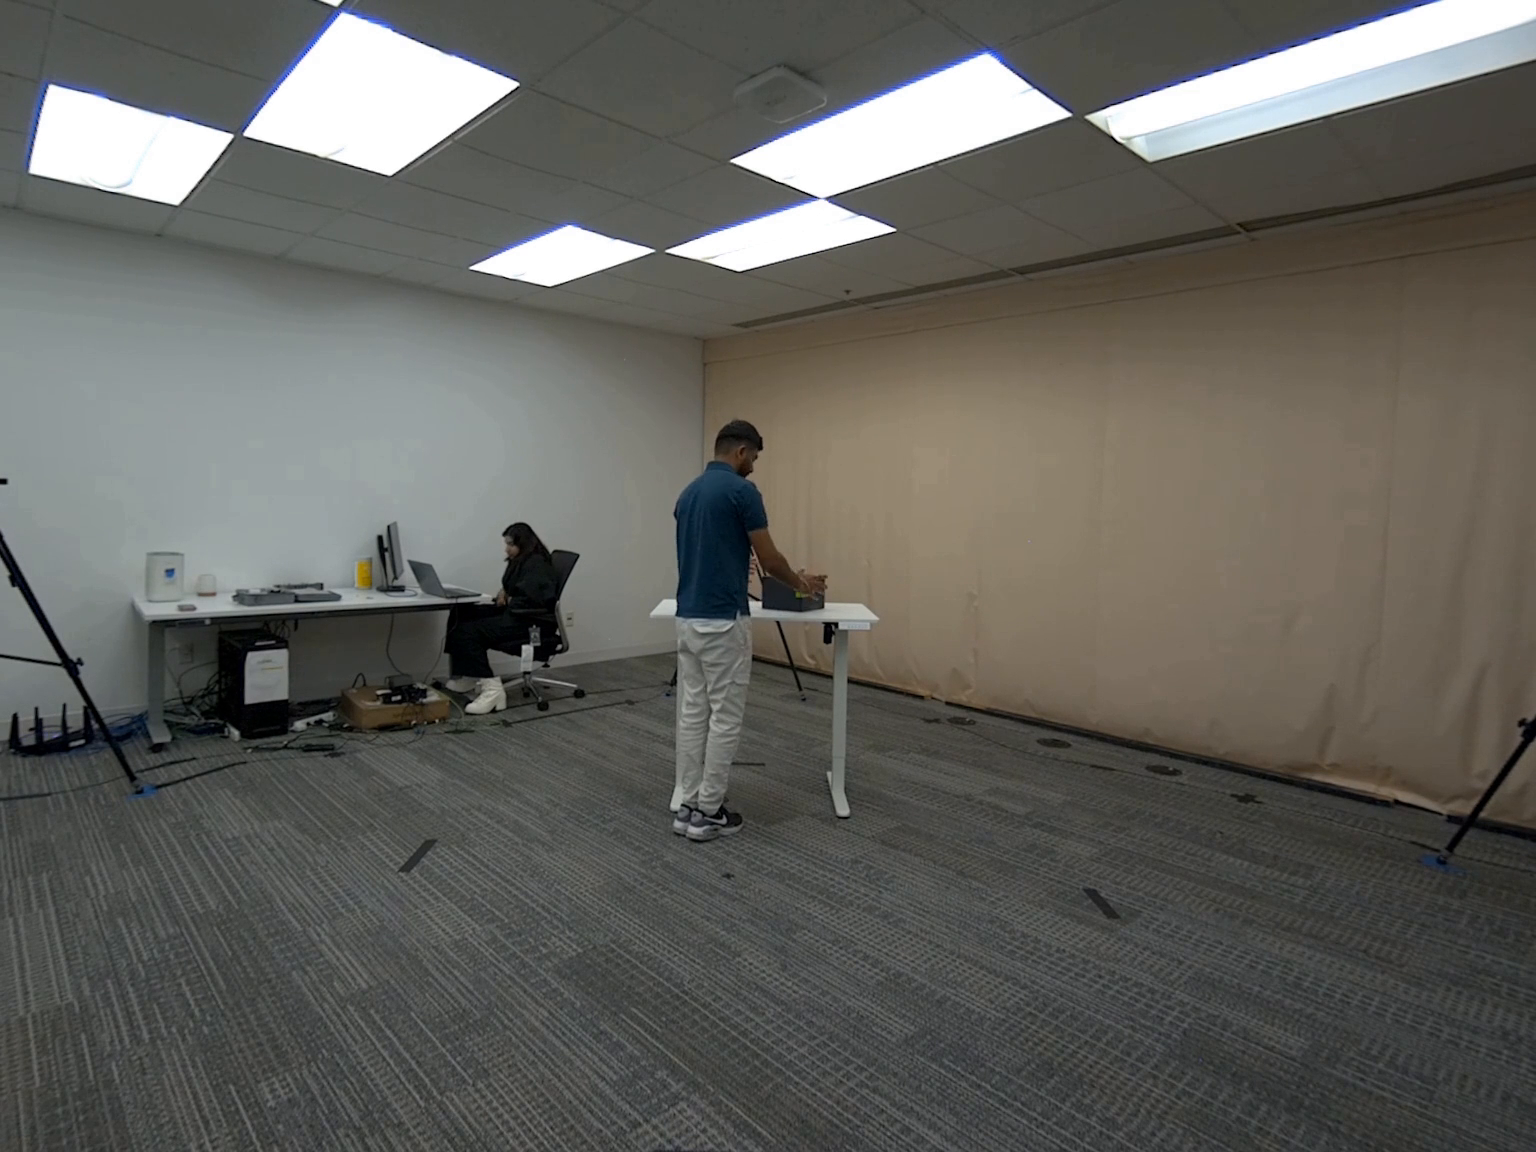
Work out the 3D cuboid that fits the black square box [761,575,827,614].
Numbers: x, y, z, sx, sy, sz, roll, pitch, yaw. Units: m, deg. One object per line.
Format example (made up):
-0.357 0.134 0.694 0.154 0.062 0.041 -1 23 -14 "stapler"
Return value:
0.122 0.076 3.987 0.222 0.155 0.223 4 5 33 "black square box"
